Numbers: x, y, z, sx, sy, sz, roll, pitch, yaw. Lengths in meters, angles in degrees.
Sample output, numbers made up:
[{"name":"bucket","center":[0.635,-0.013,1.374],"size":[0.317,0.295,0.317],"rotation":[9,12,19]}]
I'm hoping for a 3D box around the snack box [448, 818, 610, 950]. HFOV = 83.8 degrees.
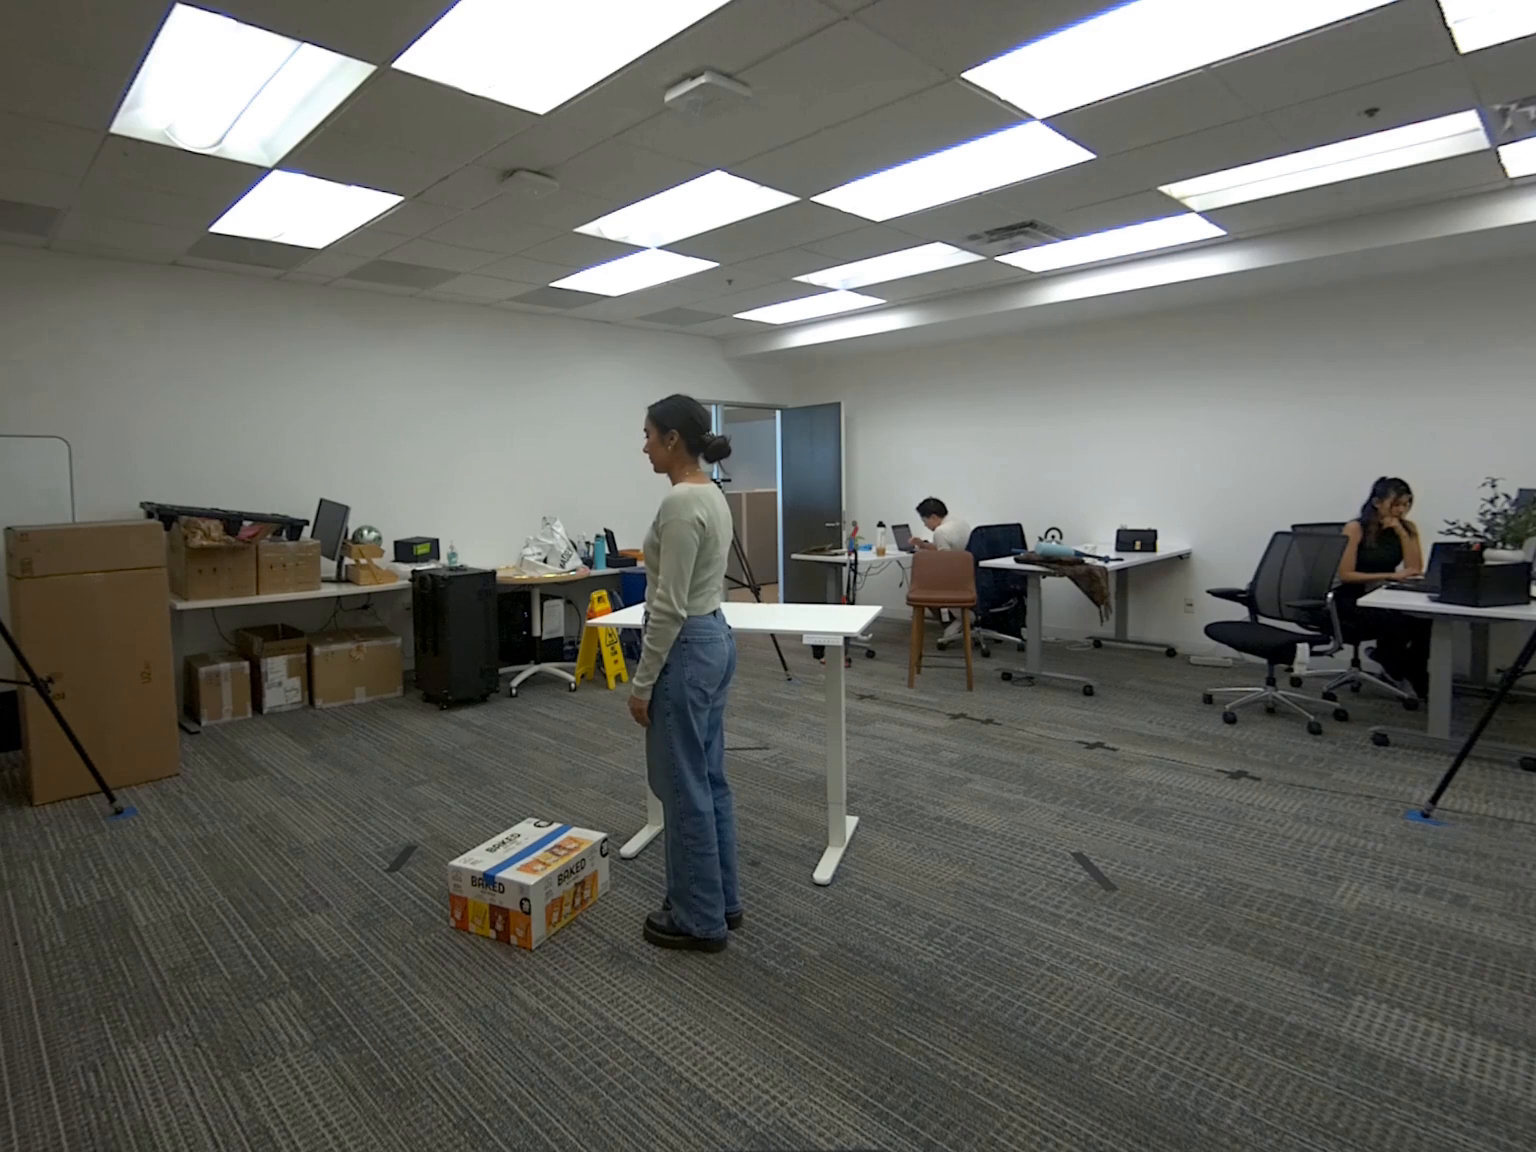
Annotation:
[{"name":"snack box","center":[-0.774,0.993,2.802],"size":[0.348,0.205,0.398],"rotation":[2,7,25]}]
